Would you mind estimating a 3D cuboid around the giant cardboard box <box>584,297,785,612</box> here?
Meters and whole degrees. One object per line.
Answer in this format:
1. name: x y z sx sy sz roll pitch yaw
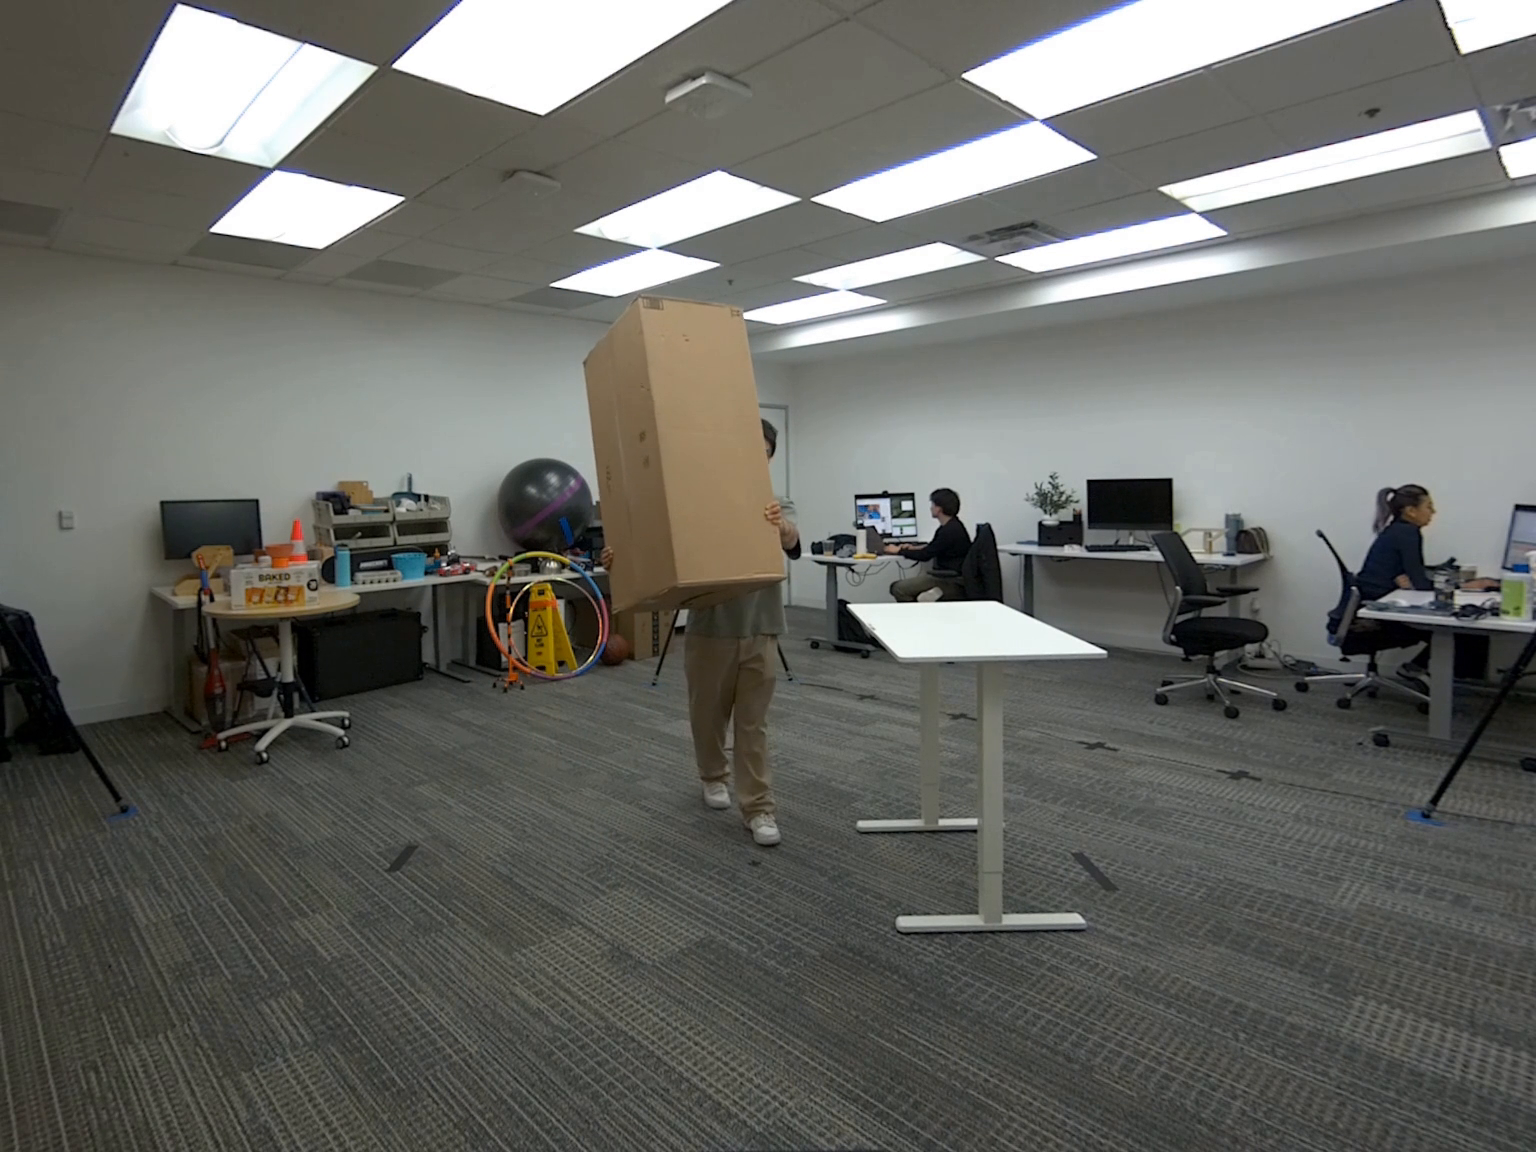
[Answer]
1. giant cardboard box: -0.333 -0.416 3.161 0.416 1.038 0.585 -2 -13 -32
